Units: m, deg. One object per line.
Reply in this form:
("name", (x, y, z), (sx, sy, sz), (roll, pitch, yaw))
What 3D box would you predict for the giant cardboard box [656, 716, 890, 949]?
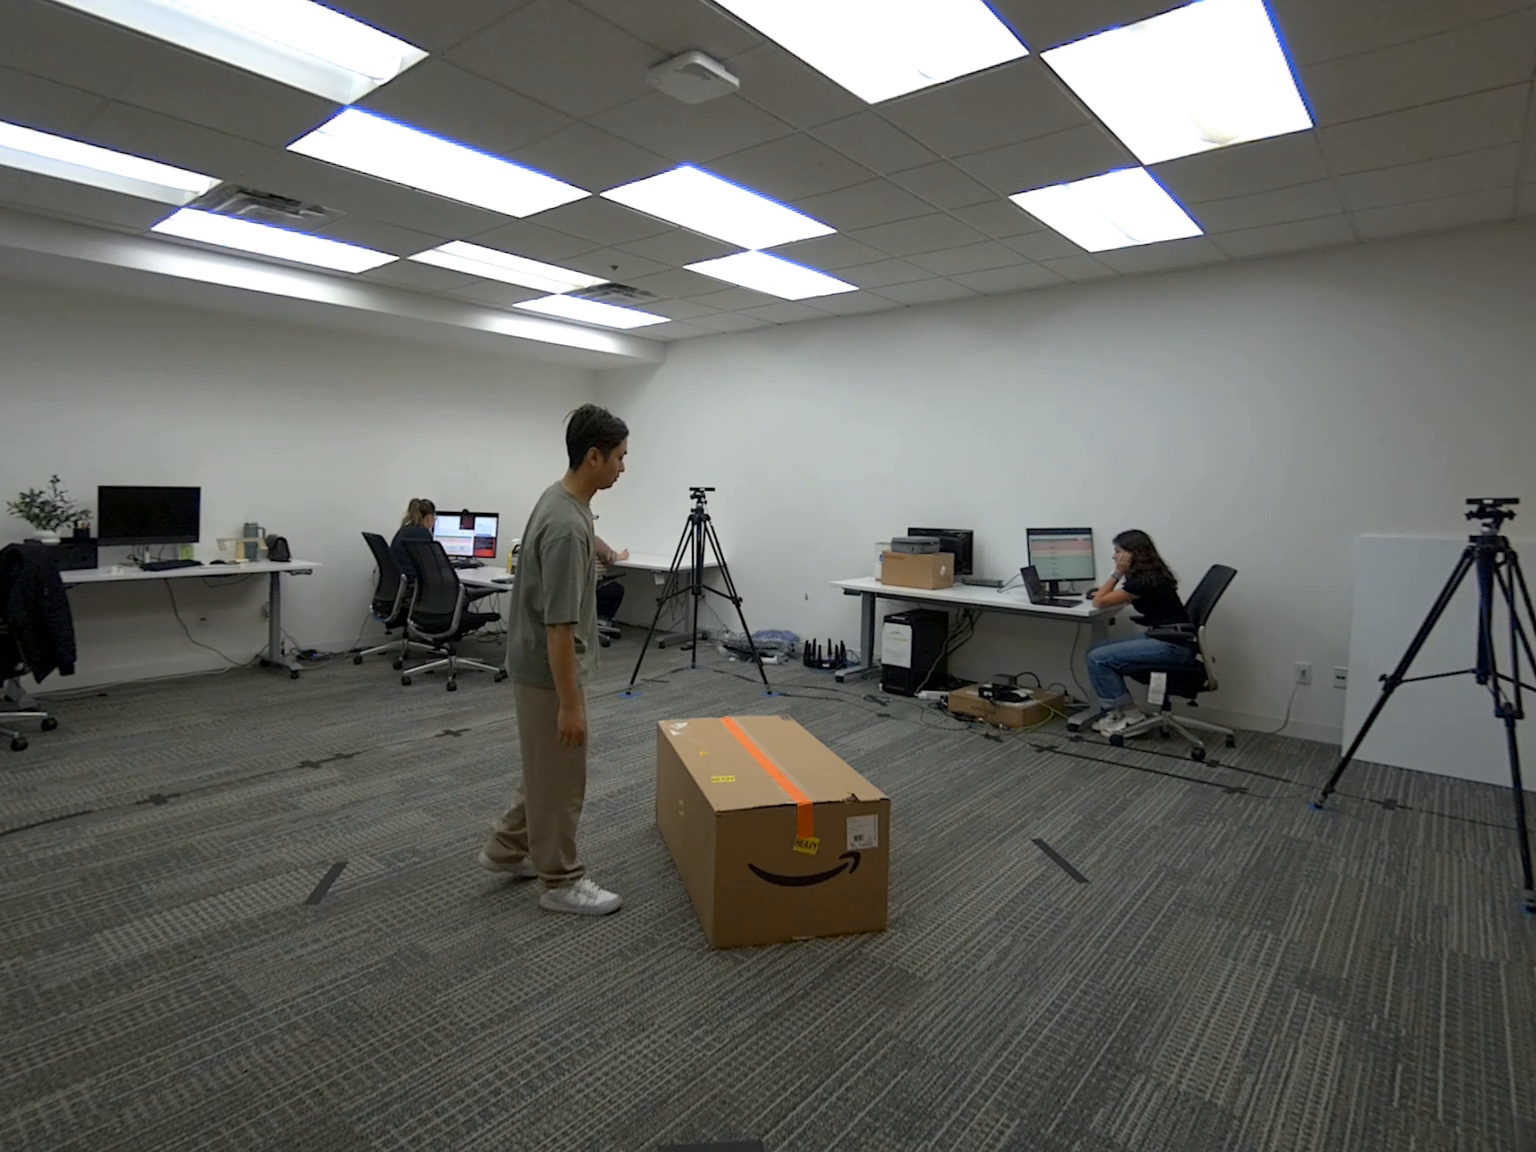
("giant cardboard box", (-0.045, 0.852, 3.101), (0.568, 0.424, 1.046), (-1, 6, -16))
